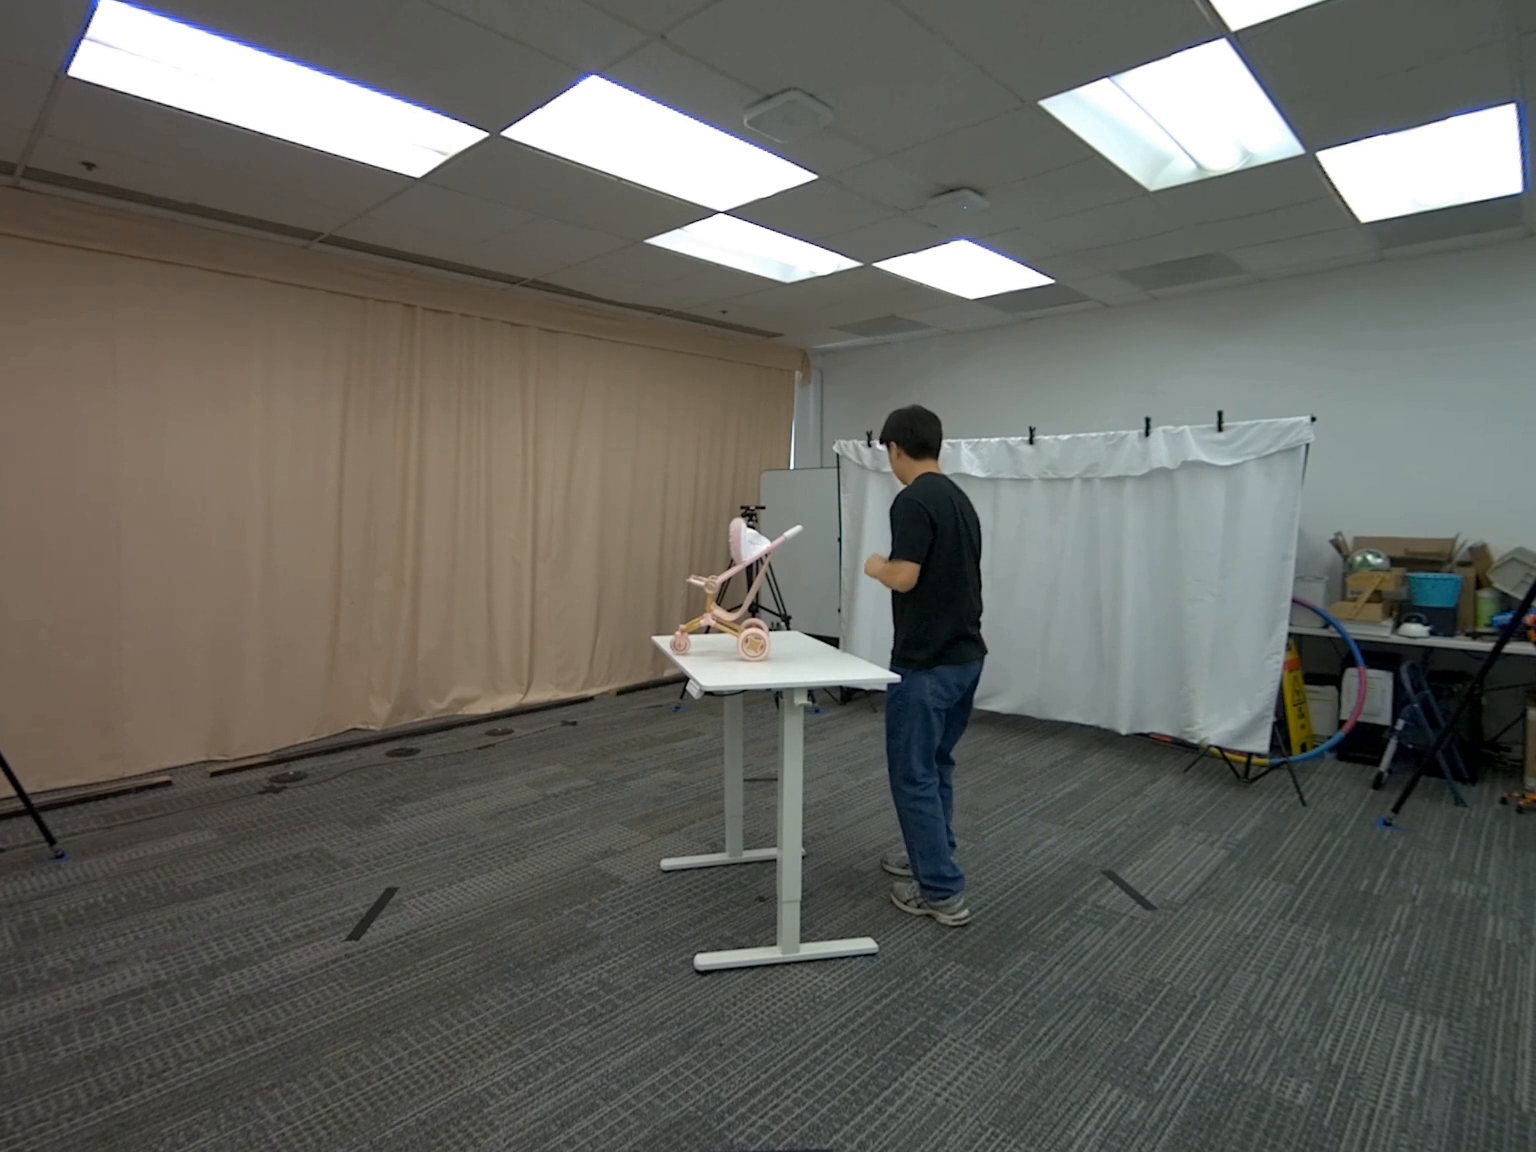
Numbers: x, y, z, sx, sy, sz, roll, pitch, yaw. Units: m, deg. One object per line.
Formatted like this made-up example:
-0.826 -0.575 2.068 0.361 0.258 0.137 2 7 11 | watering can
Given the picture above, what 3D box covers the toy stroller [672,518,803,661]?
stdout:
-0.114 0.048 2.872 0.344 0.534 0.280 15 5 5 | toy stroller
